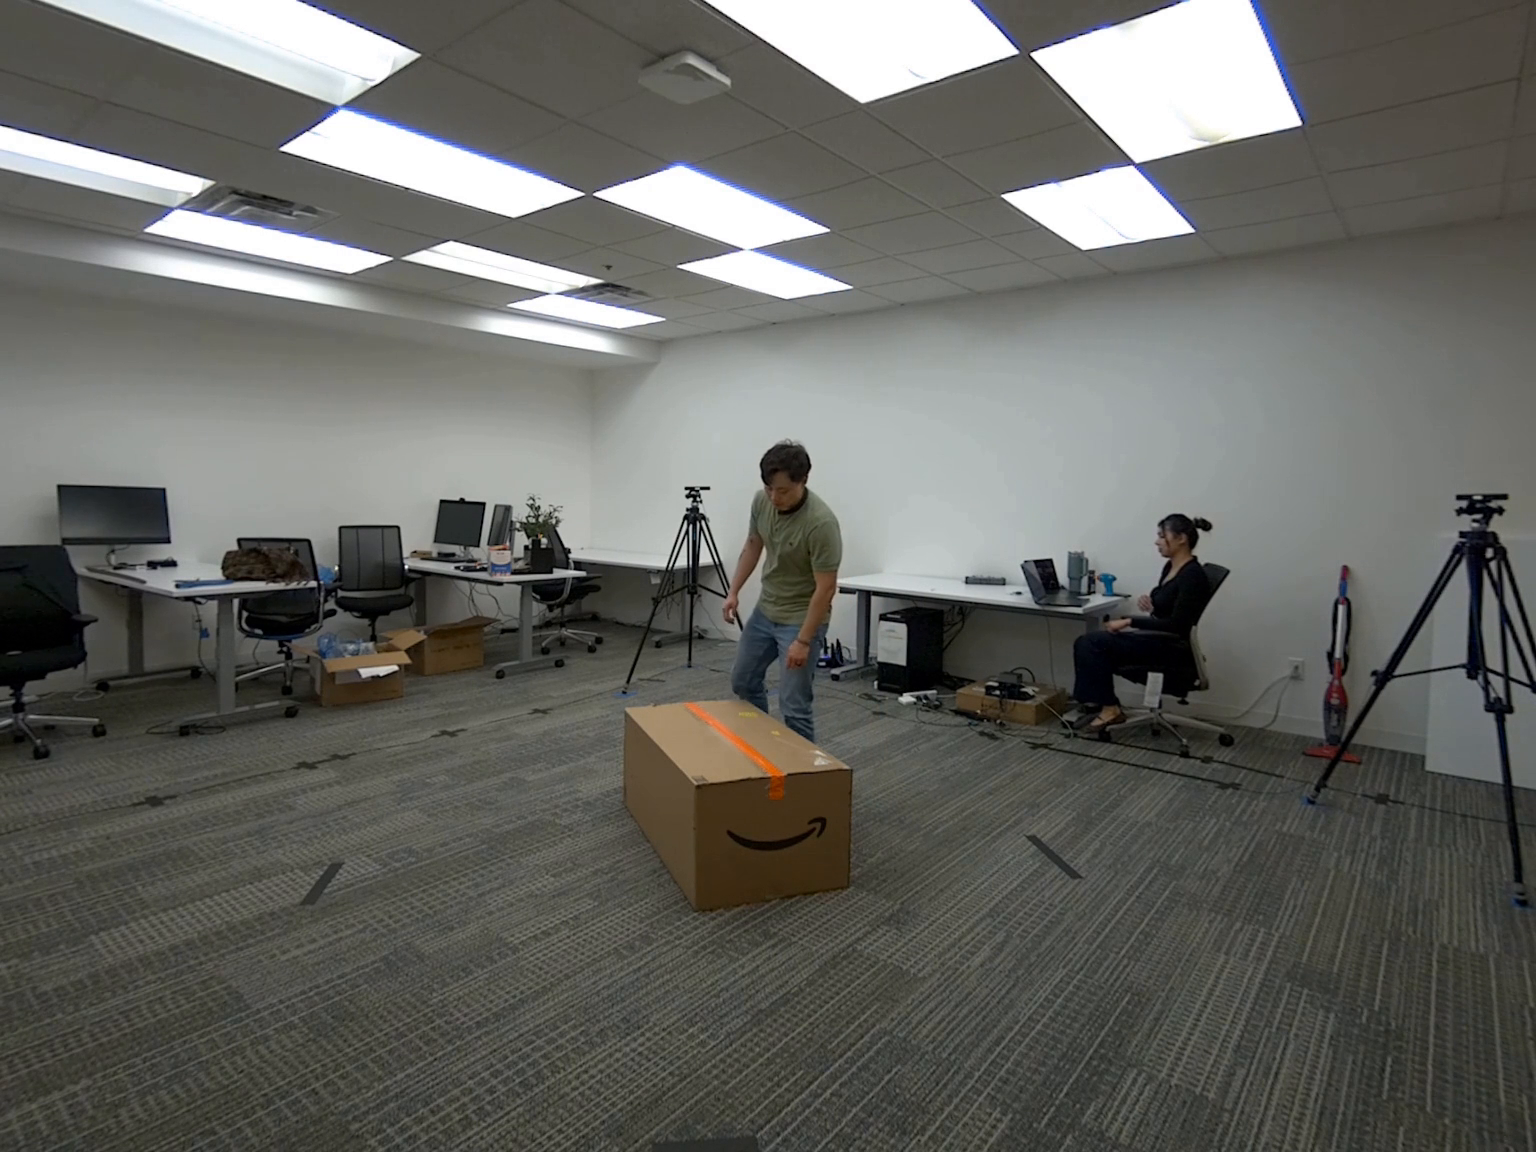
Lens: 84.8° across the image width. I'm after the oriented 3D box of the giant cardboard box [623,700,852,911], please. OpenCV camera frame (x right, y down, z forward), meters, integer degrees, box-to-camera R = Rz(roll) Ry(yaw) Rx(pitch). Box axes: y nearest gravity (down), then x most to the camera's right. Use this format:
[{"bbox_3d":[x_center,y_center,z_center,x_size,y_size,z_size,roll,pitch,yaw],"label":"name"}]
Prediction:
[{"bbox_3d":[-0.182,0.824,3.336,0.565,0.425,1.052,0,5,-23],"label":"giant cardboard box"}]
